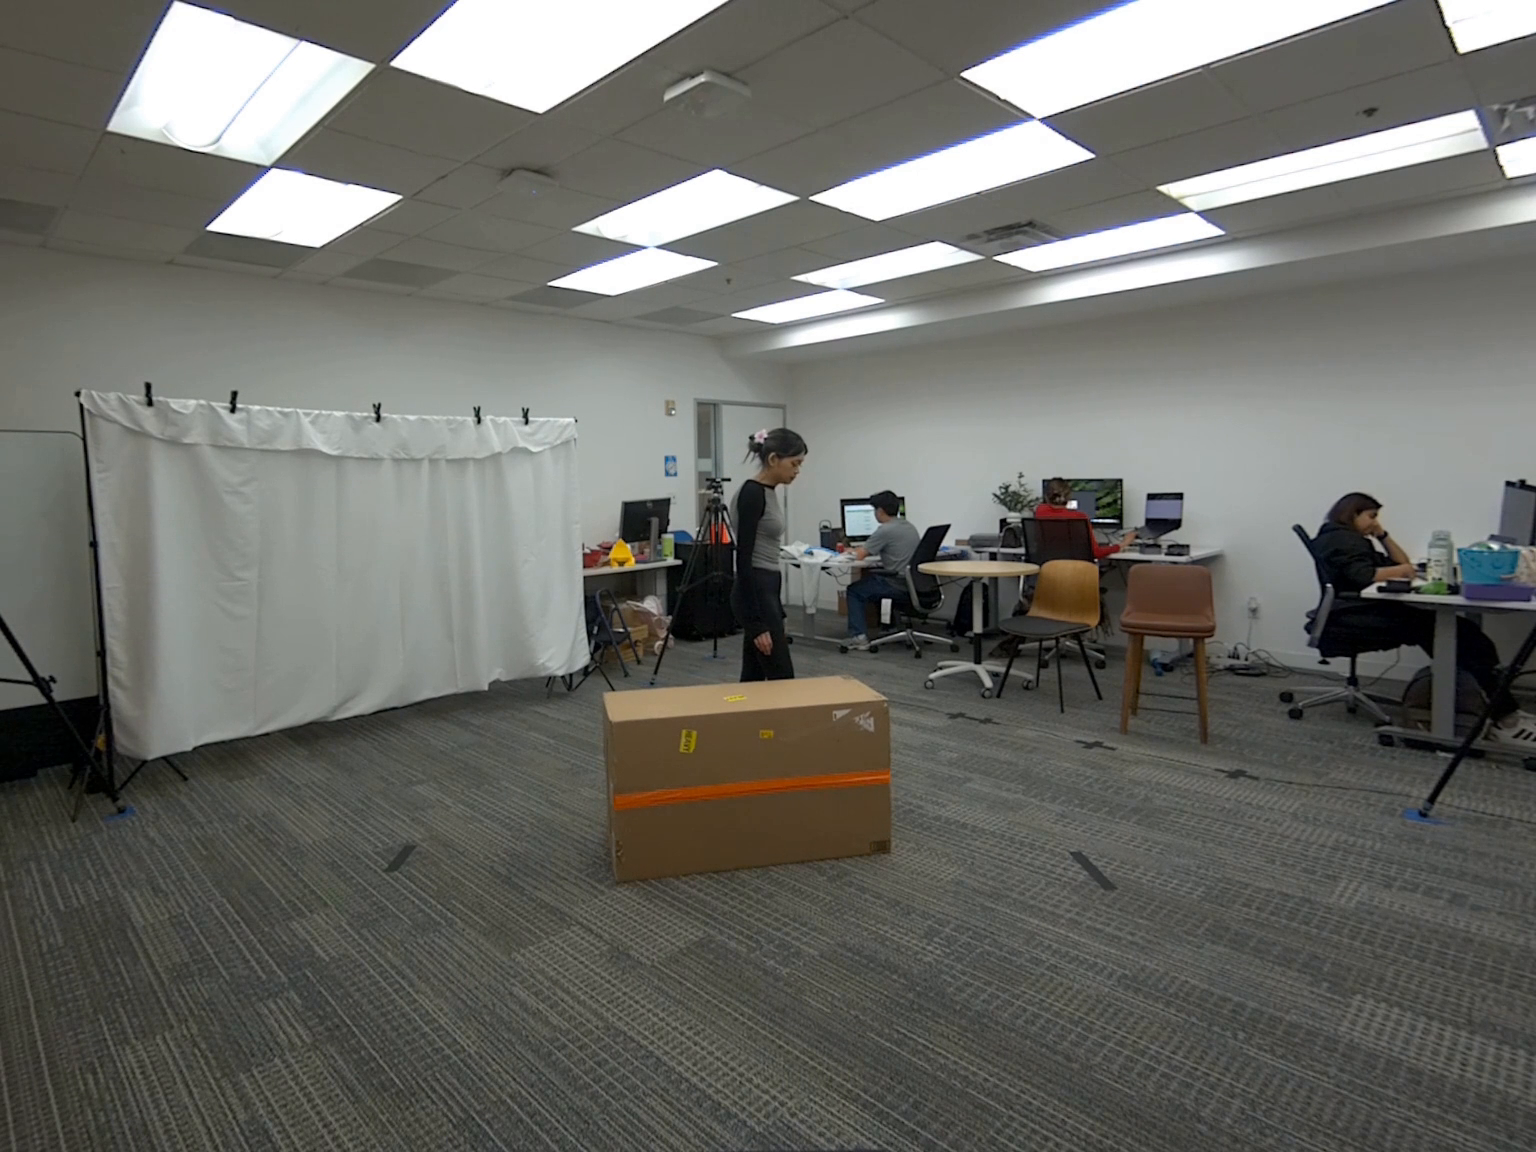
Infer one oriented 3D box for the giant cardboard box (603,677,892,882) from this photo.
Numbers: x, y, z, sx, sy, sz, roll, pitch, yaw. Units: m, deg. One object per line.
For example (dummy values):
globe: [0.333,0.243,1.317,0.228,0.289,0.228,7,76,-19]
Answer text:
giant cardboard box: [-0.095,0.737,3.248,1.014,0.576,0.432,-2,4,-12]
